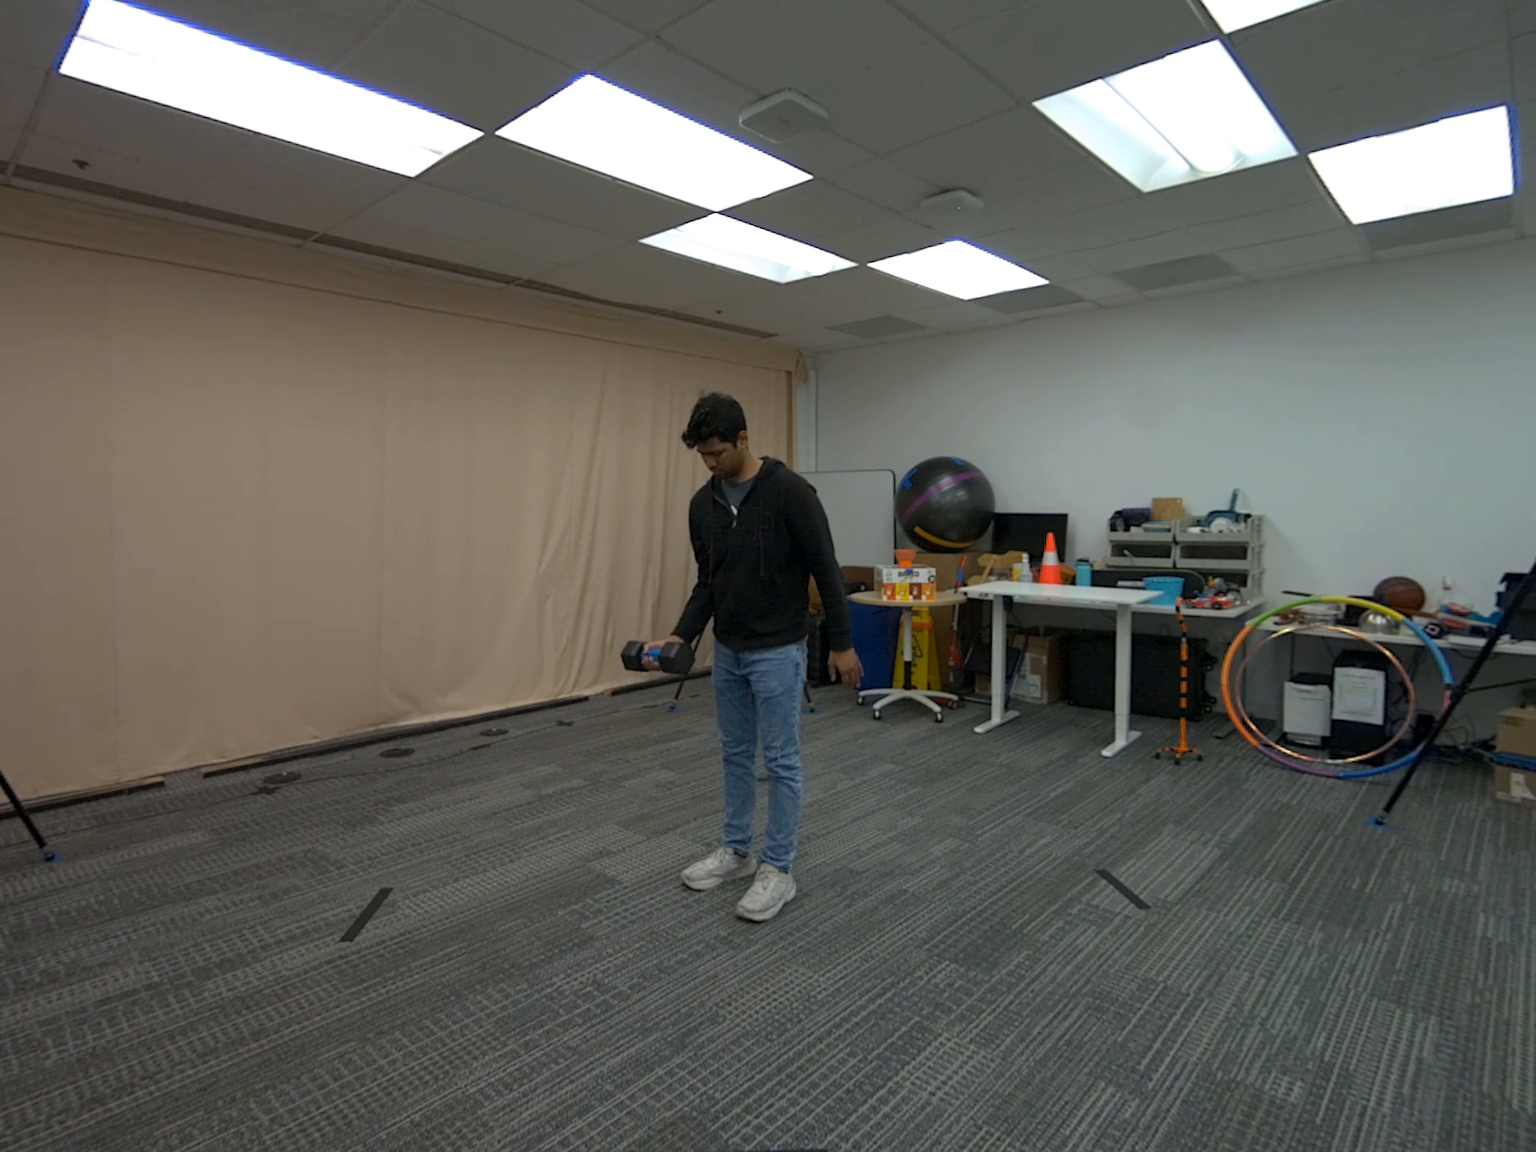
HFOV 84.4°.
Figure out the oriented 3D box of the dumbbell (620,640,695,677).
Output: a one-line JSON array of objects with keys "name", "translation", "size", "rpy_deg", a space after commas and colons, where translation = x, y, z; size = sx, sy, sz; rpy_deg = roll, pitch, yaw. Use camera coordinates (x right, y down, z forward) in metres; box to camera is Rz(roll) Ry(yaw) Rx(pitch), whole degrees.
[{"name": "dumbbell", "translation": [-0.381, 0.273, 2.949], "size": [0.302, 0.123, 0.105], "rpy_deg": [-4, -45, 45]}]
